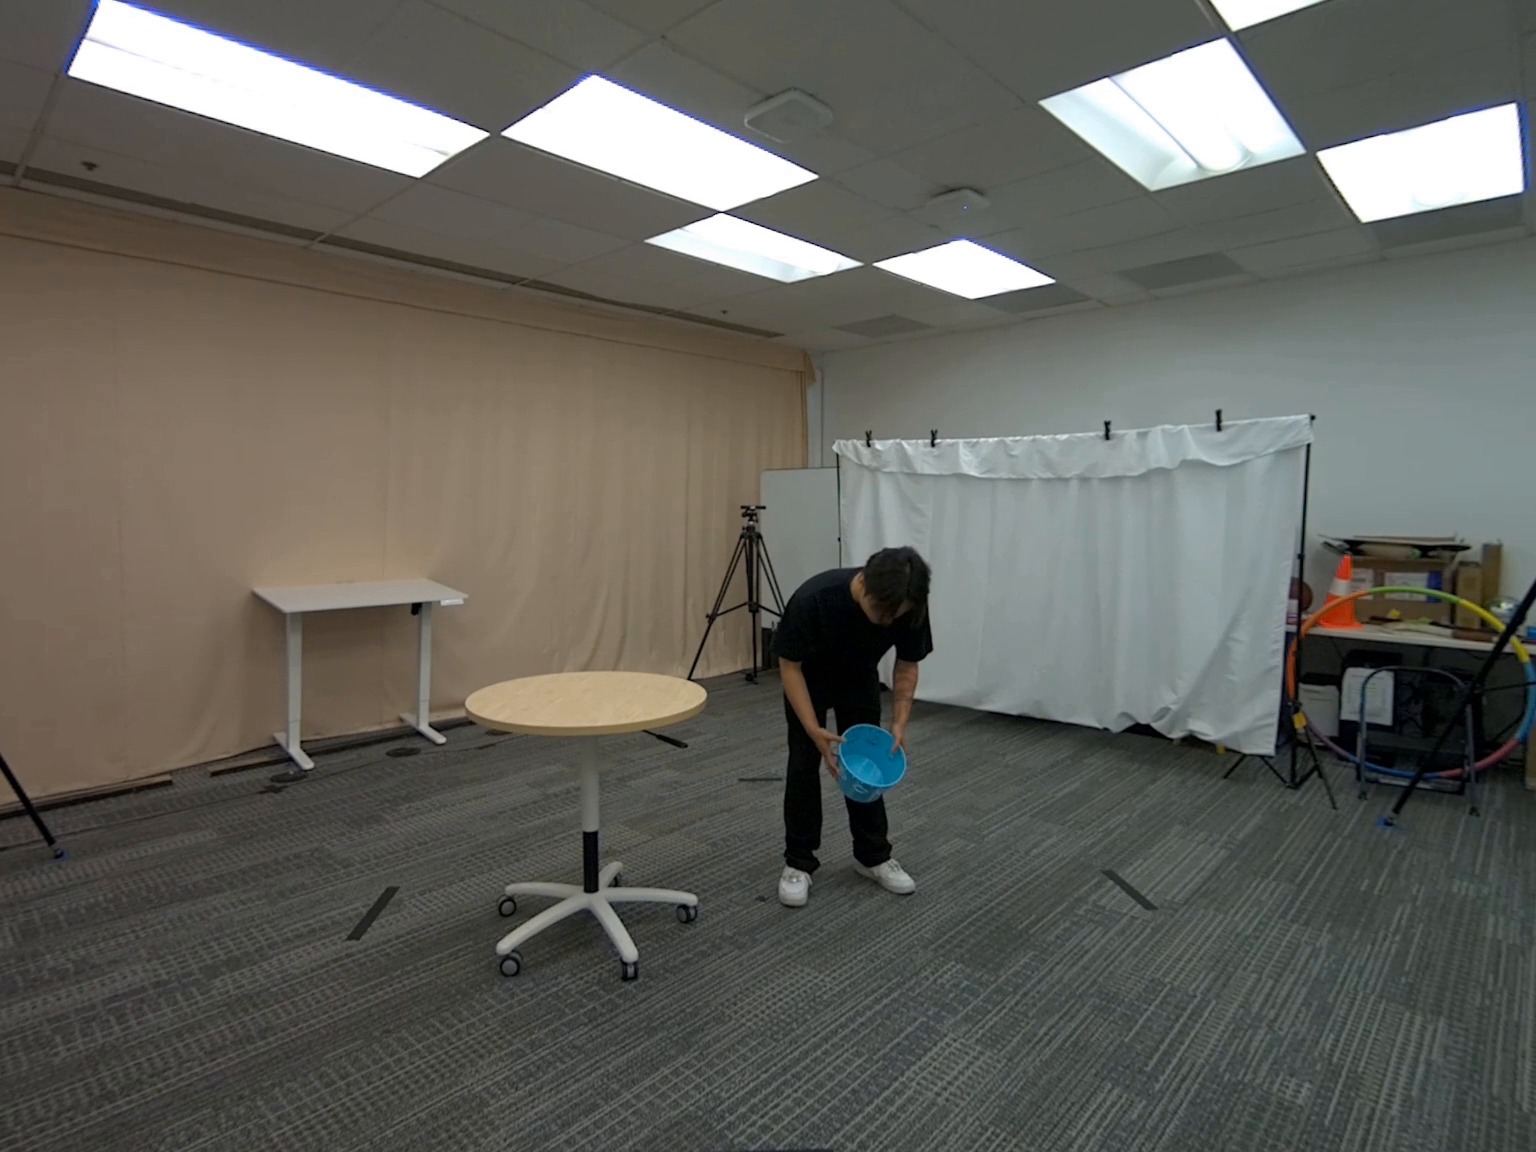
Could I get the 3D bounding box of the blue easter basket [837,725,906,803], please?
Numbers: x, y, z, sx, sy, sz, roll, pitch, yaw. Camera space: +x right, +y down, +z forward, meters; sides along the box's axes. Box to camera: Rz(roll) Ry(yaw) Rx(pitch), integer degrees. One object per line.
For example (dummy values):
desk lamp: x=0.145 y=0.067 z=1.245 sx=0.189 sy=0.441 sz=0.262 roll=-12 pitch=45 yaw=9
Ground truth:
blue easter basket: x=0.332 y=0.629 z=2.834 sx=0.241 sy=0.154 sz=0.248 roll=7 pitch=45 yaw=-9
